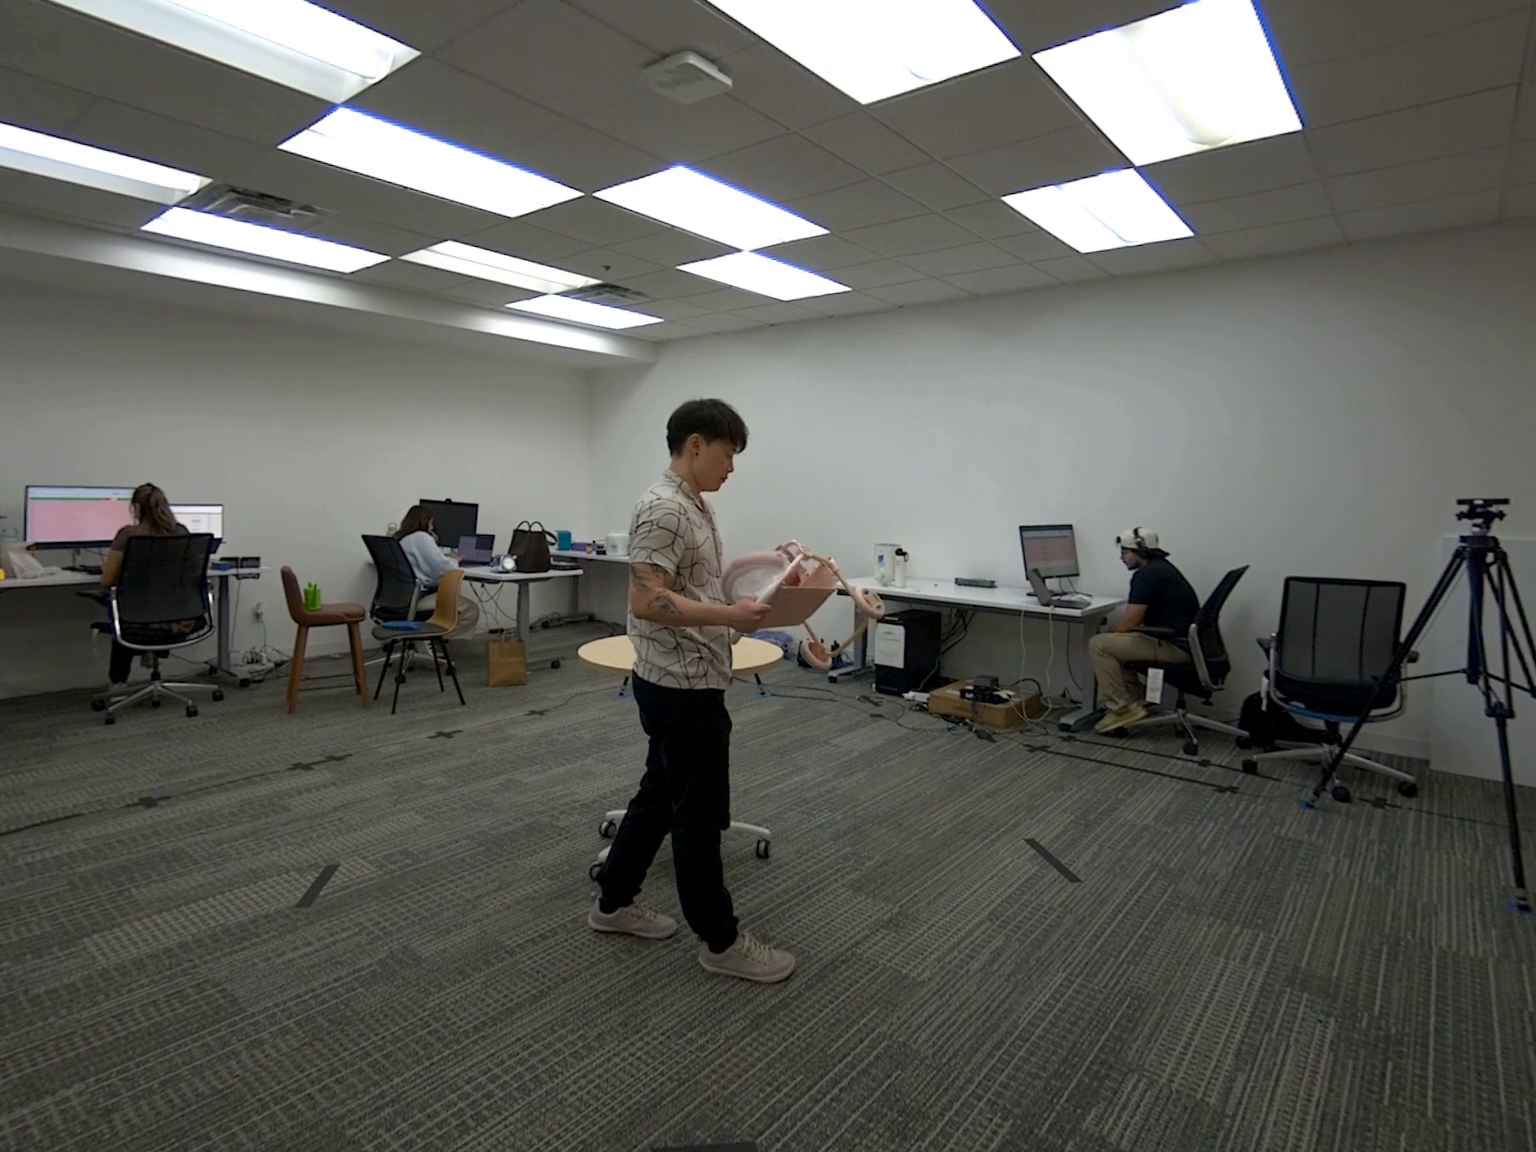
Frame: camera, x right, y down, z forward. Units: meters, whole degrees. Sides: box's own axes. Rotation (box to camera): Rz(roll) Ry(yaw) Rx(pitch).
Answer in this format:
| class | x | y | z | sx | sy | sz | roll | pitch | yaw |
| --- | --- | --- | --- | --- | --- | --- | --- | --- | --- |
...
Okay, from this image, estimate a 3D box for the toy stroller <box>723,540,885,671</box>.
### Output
| class | x | y | z | sx | sy | sz | roll | pitch | yaw |
| --- | --- | --- | --- | --- | --- | --- | --- | --- | --- |
| toy stroller | 0.067 | 0.045 | 2.479 | 0.515 | 0.354 | 0.281 | 14 | -48 | -39 |
